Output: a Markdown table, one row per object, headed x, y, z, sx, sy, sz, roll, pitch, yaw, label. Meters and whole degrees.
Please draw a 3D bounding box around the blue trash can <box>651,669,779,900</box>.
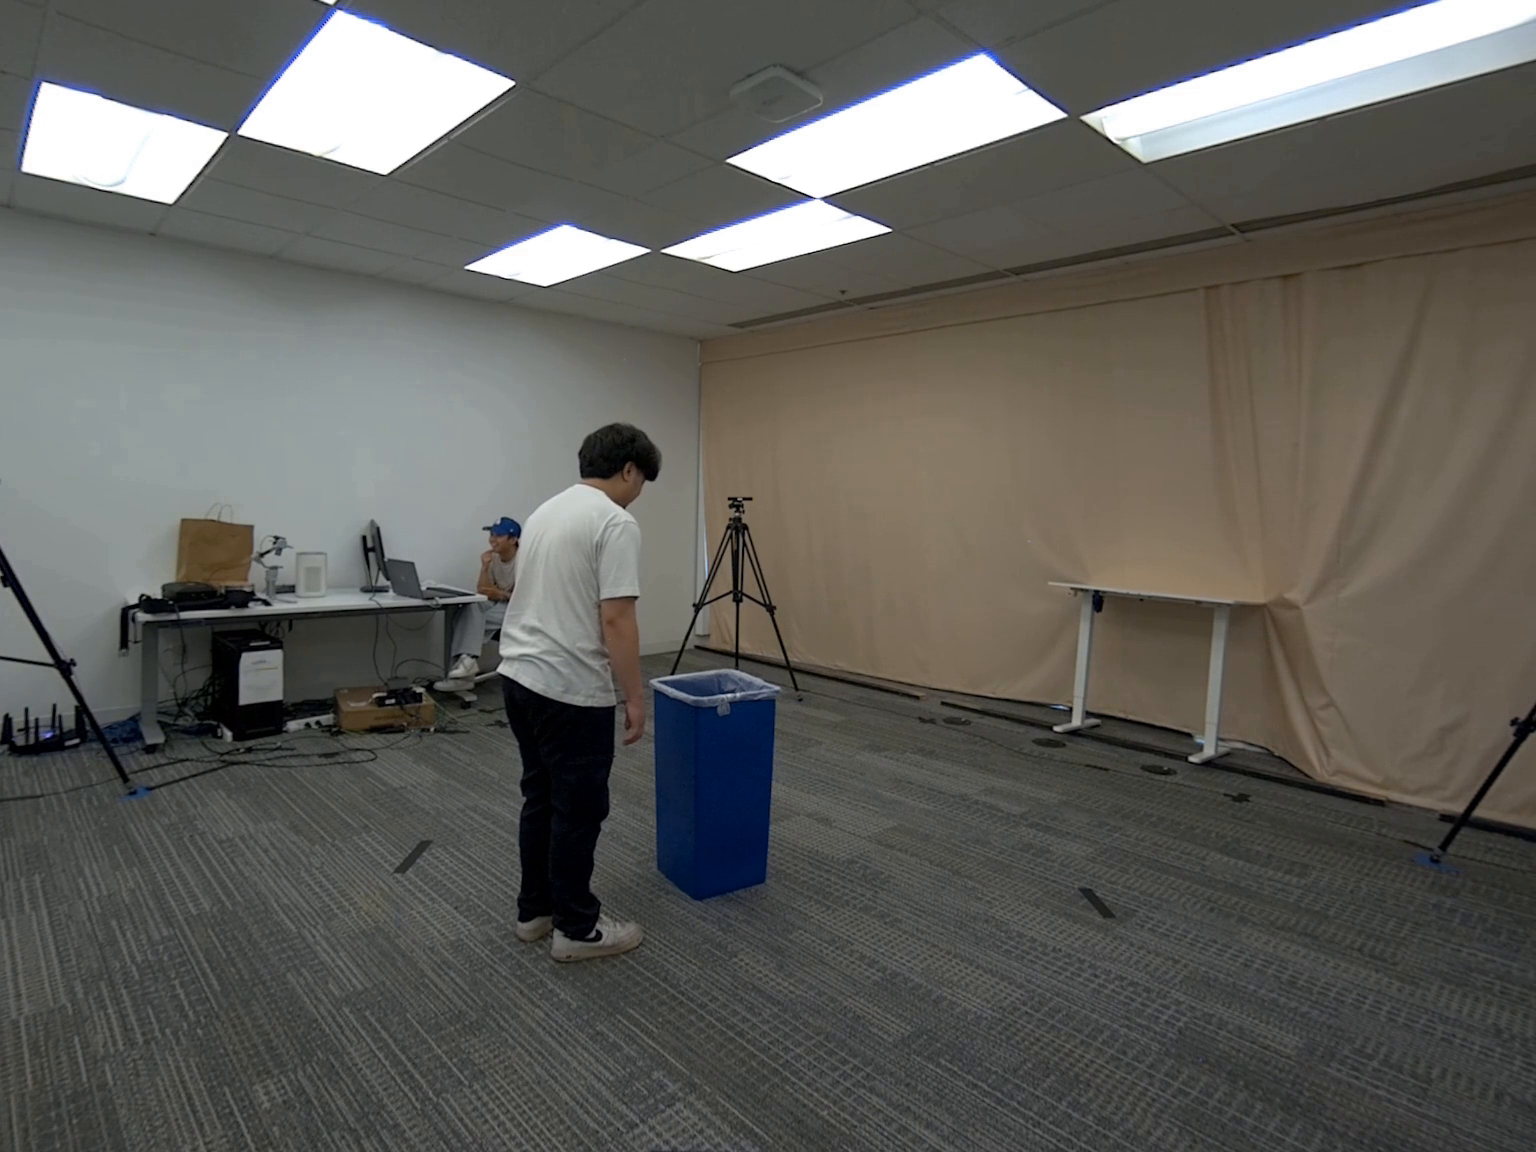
| x | y | z | sx | sy | sz | roll | pitch | yaw | label |
| --- | --- | --- | --- | --- | --- | --- | --- | --- | --- |
| -0.215 | 0.748 | 3.096 | 0.370 | 0.712 | 0.383 | -1 | 4 | -34 | blue trash can |
